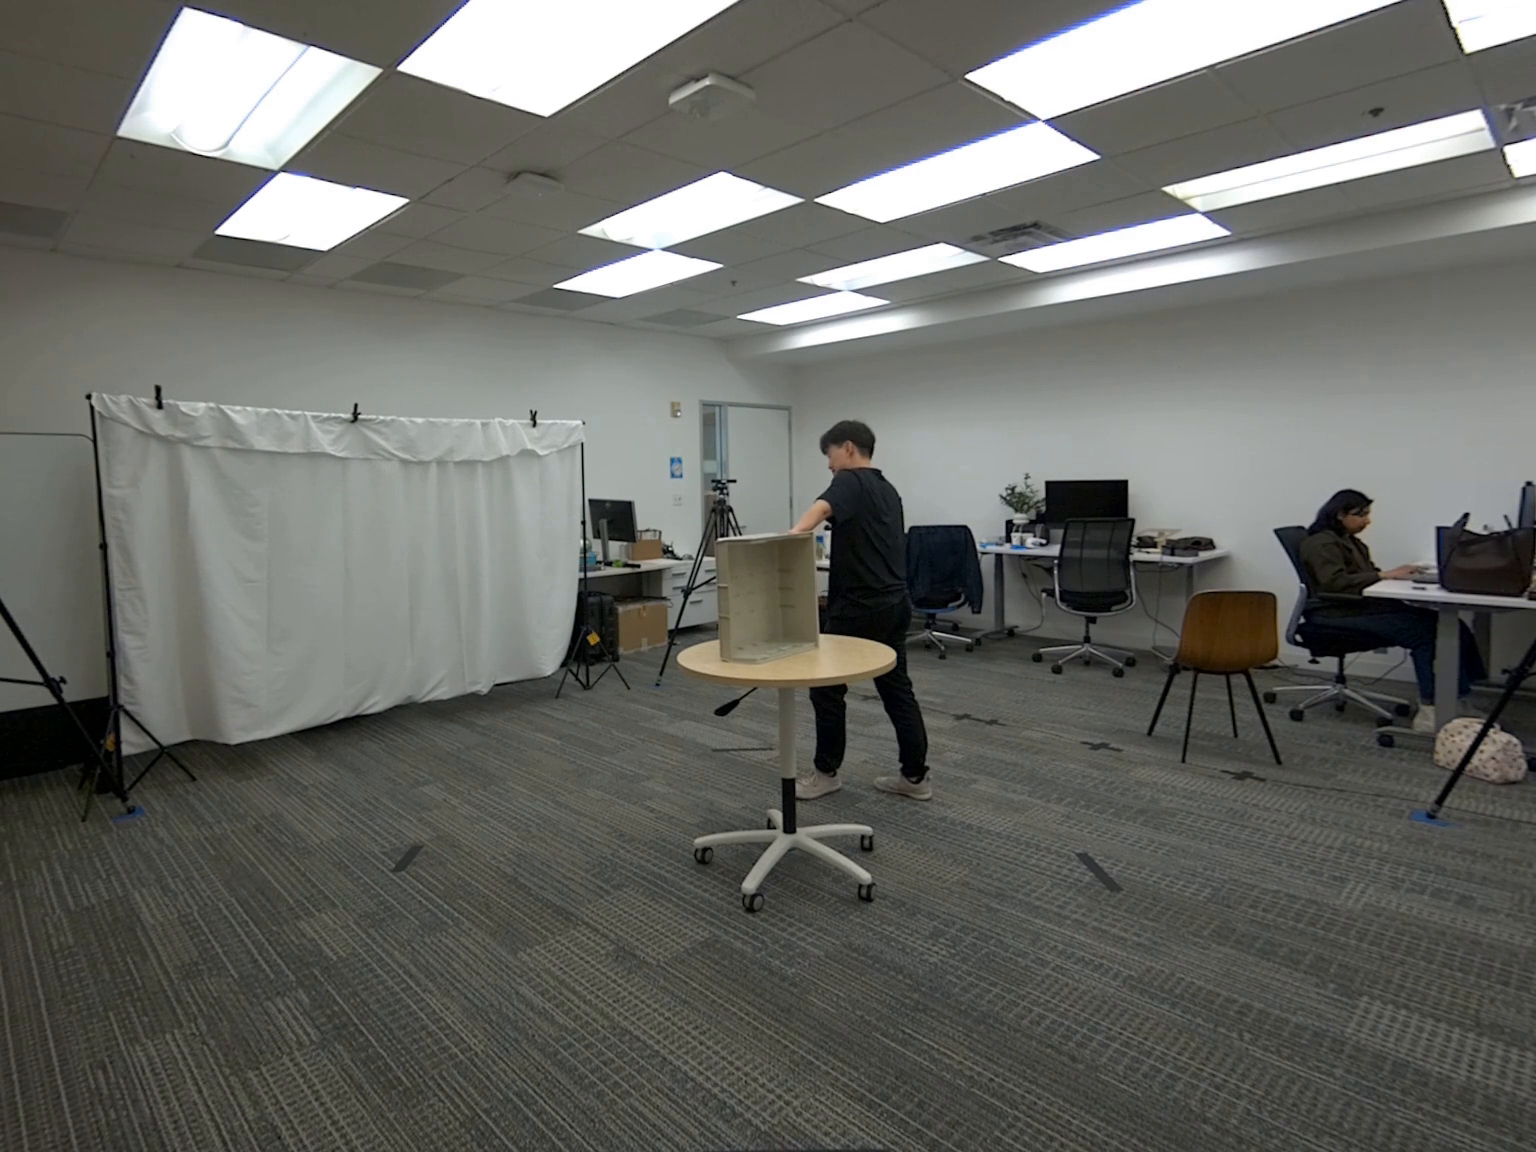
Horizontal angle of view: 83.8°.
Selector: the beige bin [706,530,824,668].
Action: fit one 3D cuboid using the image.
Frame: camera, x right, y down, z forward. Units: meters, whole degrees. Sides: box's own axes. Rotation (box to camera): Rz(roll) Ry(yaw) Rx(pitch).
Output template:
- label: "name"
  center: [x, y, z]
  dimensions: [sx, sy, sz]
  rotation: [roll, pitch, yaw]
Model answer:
- label: "beige bin"
  center: [-0.006, 0.067, 3.012]
  dimensions: [0.194, 0.421, 0.368]
  rotation: [-1, 5, 41]
